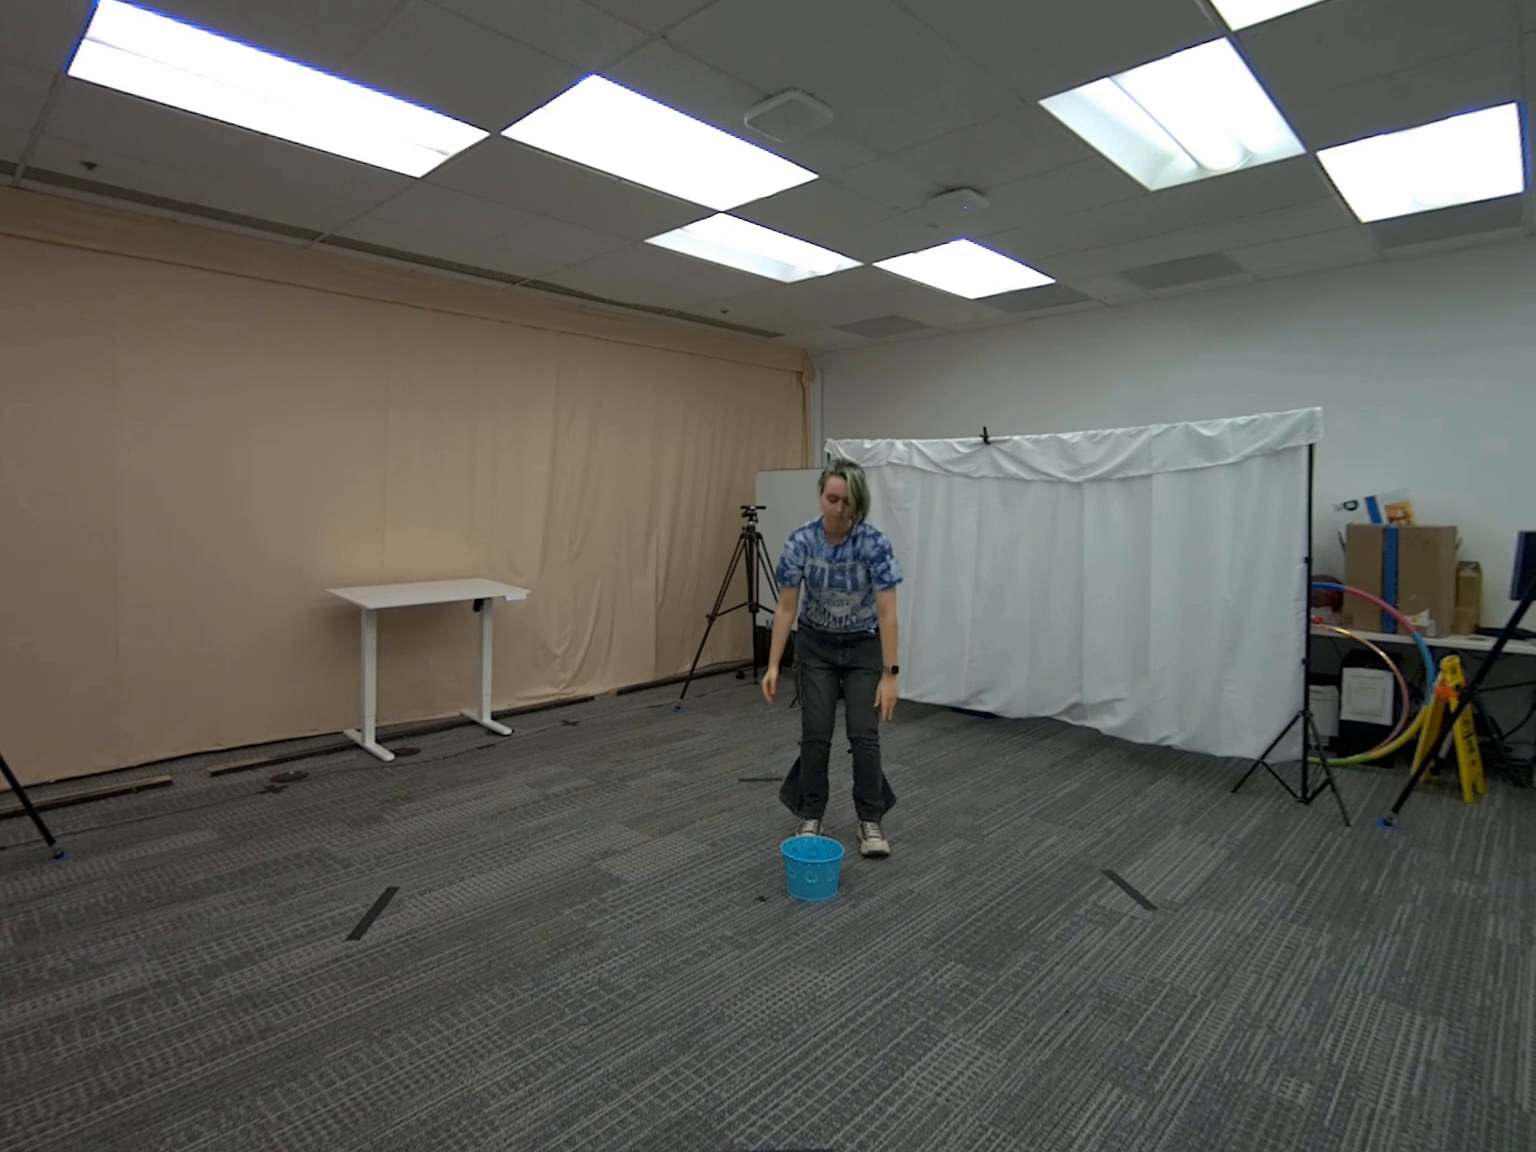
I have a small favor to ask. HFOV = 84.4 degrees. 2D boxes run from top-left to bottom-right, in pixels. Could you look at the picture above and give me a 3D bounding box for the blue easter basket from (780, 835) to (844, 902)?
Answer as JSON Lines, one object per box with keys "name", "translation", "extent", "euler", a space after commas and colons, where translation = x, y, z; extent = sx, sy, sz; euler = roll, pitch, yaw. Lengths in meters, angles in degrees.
{"name": "blue easter basket", "translation": [0.163, 1.053, 3.057], "extent": [0.243, 0.156, 0.244], "euler": [-2, 2, -2]}
